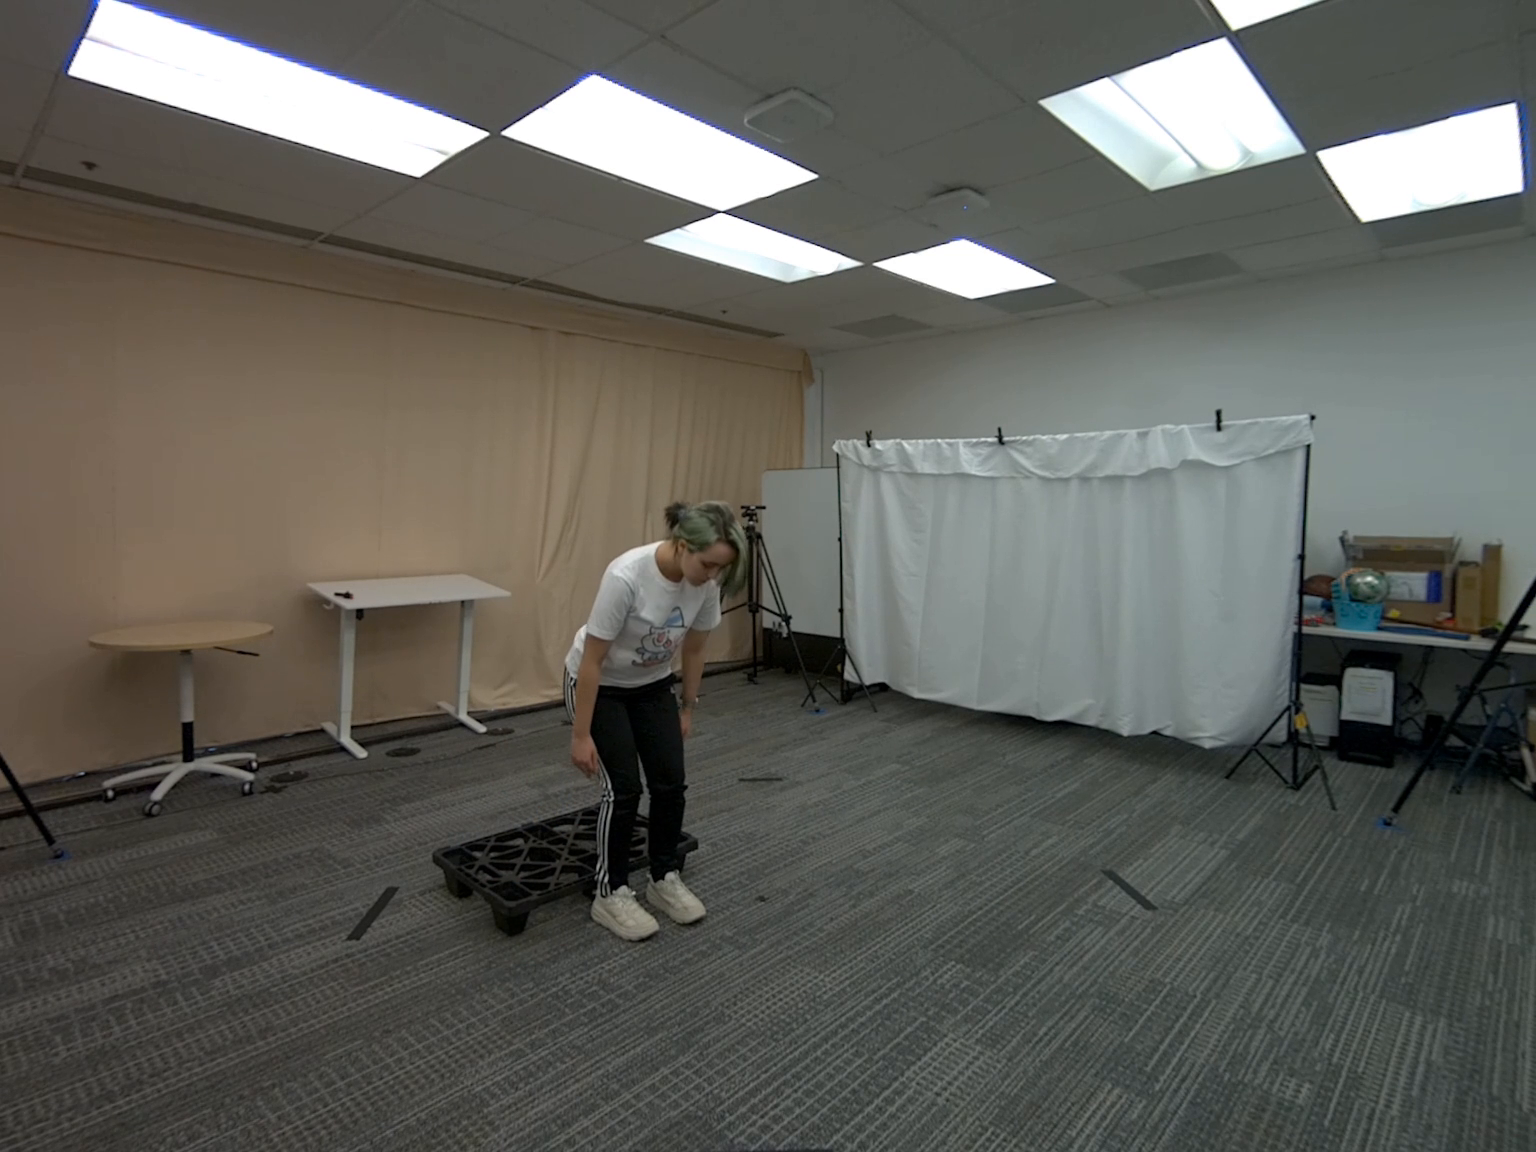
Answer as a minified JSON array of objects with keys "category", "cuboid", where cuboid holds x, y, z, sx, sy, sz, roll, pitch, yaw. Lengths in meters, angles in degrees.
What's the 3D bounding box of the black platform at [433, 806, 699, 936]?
[{"category":"black platform","cuboid":[-0.742,1.071,3.138,0.781,0.143,0.625,-5,7,-44]}]
